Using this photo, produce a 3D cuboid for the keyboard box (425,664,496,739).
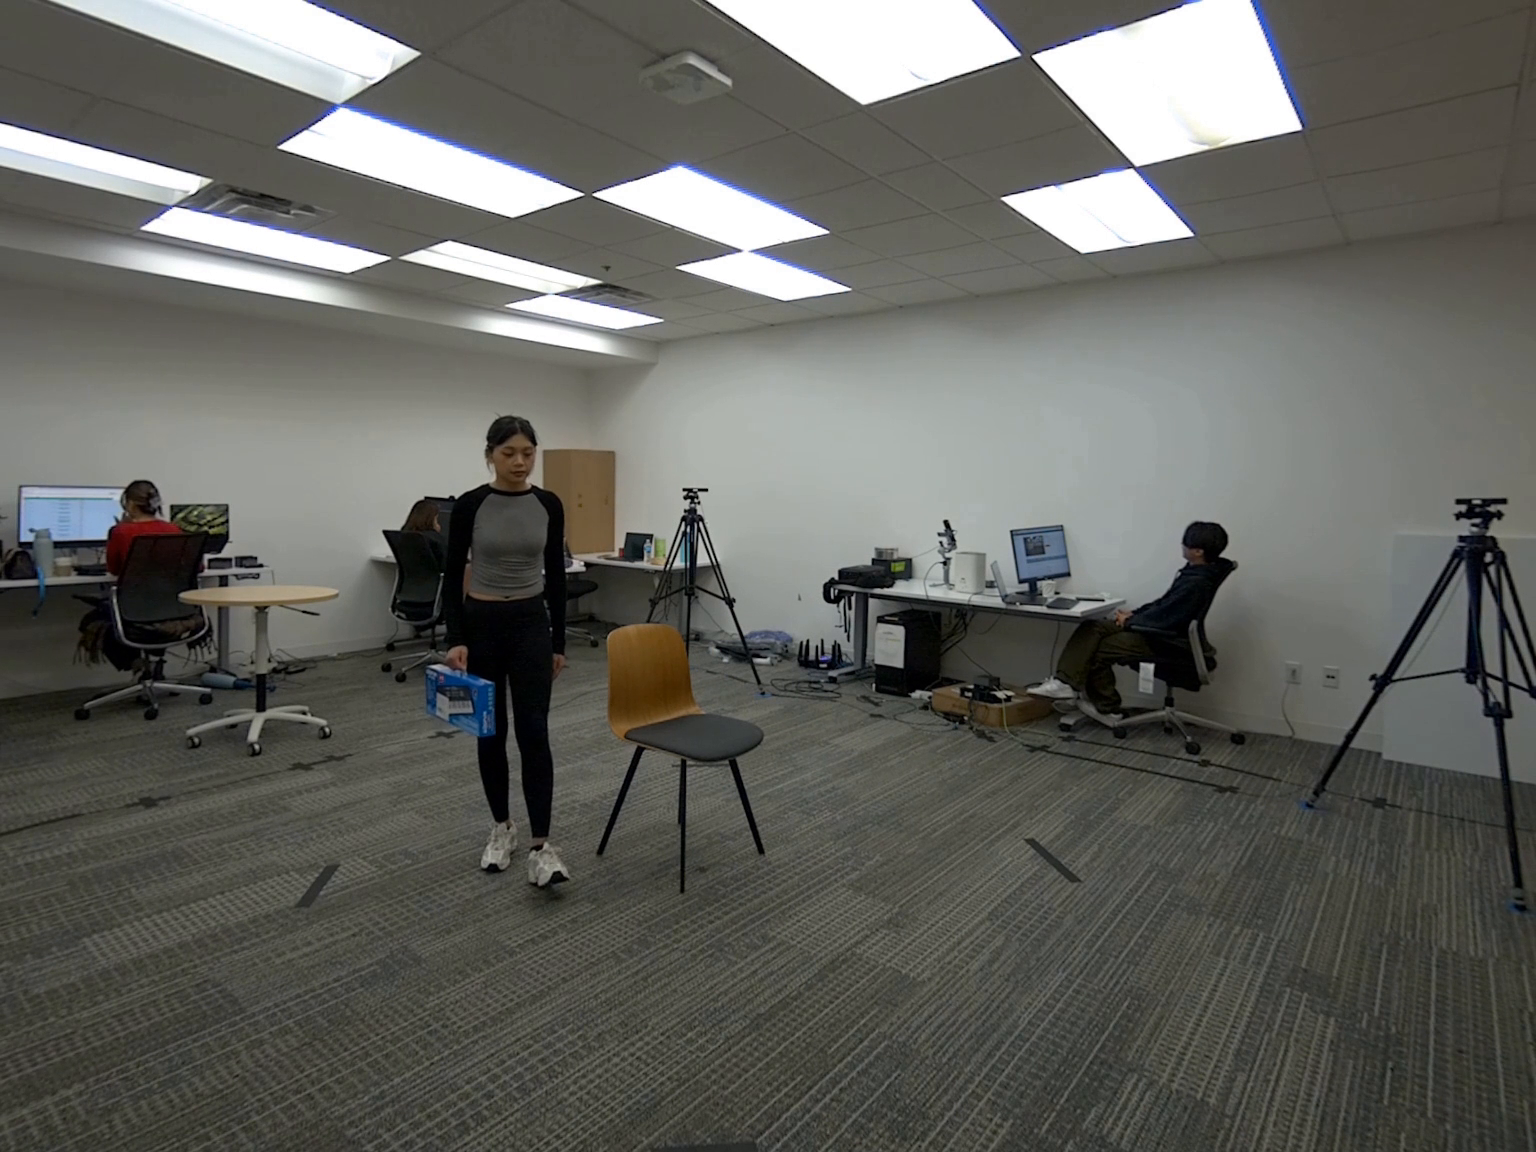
[{"bbox_3d":[-1.076,0.422,2.942,0.057,0.175,0.452,-1,5,-40],"label":"keyboard box"}]
